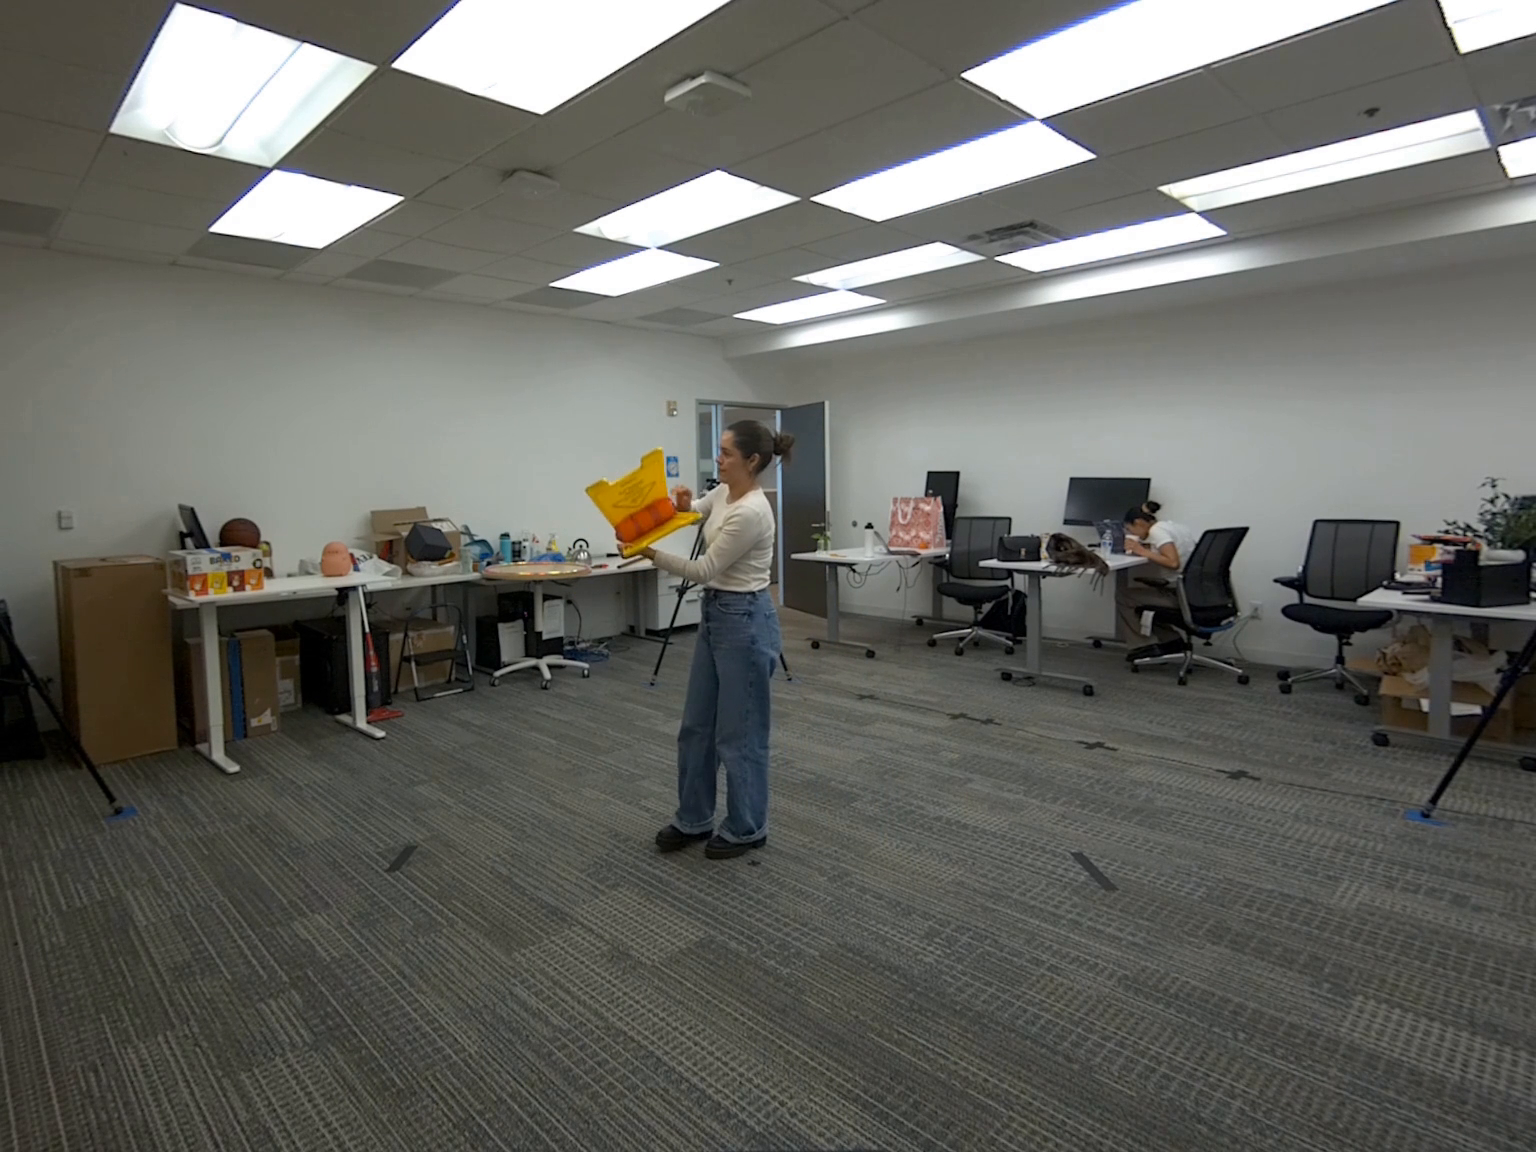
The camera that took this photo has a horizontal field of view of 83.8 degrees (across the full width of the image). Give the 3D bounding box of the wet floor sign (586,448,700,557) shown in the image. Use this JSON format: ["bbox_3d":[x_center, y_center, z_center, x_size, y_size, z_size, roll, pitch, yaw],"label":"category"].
[{"bbox_3d":[-0.442,-0.213,3.033,0.281,0.290,0.647,-31,1,-8],"label":"wet floor sign"}]
